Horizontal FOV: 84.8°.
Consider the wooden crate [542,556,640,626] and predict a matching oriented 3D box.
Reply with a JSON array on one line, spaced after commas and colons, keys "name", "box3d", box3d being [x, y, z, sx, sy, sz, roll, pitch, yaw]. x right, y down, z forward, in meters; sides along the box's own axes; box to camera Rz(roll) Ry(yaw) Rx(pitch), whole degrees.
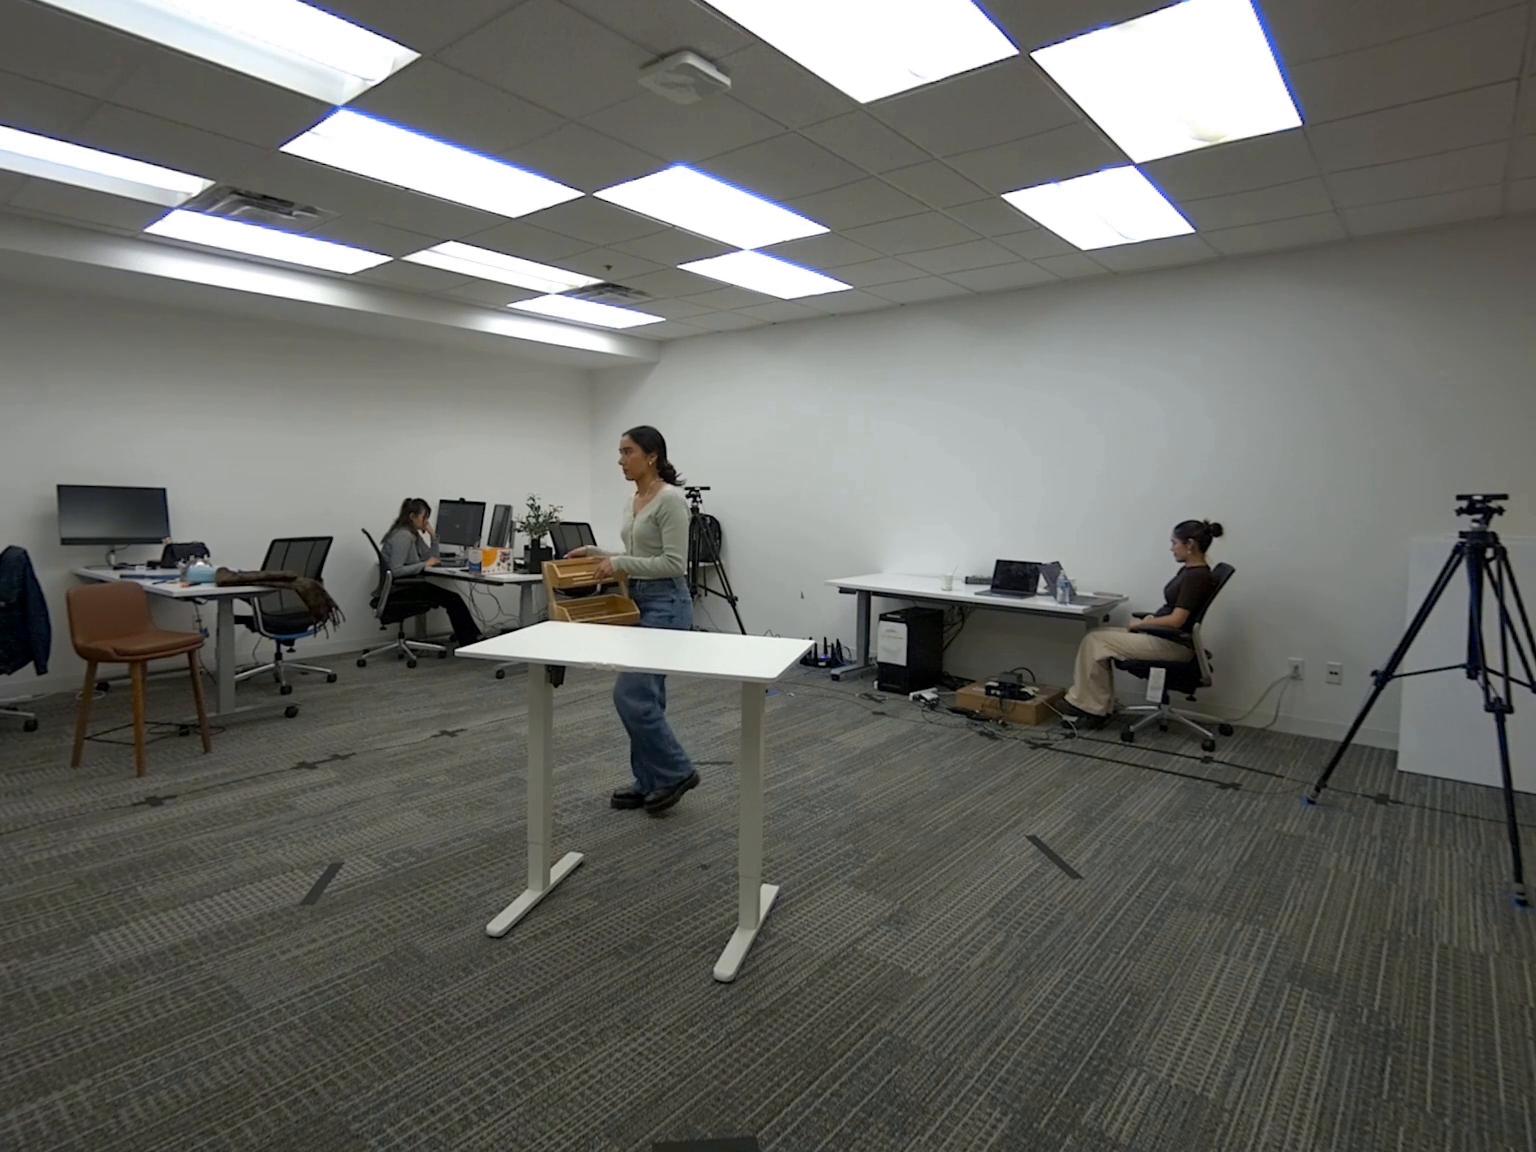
[{"name": "wooden crate", "box3d": [-0.745, 0.063, 3.502, 0.316, 0.272, 0.311, -6, 6, -32]}]
